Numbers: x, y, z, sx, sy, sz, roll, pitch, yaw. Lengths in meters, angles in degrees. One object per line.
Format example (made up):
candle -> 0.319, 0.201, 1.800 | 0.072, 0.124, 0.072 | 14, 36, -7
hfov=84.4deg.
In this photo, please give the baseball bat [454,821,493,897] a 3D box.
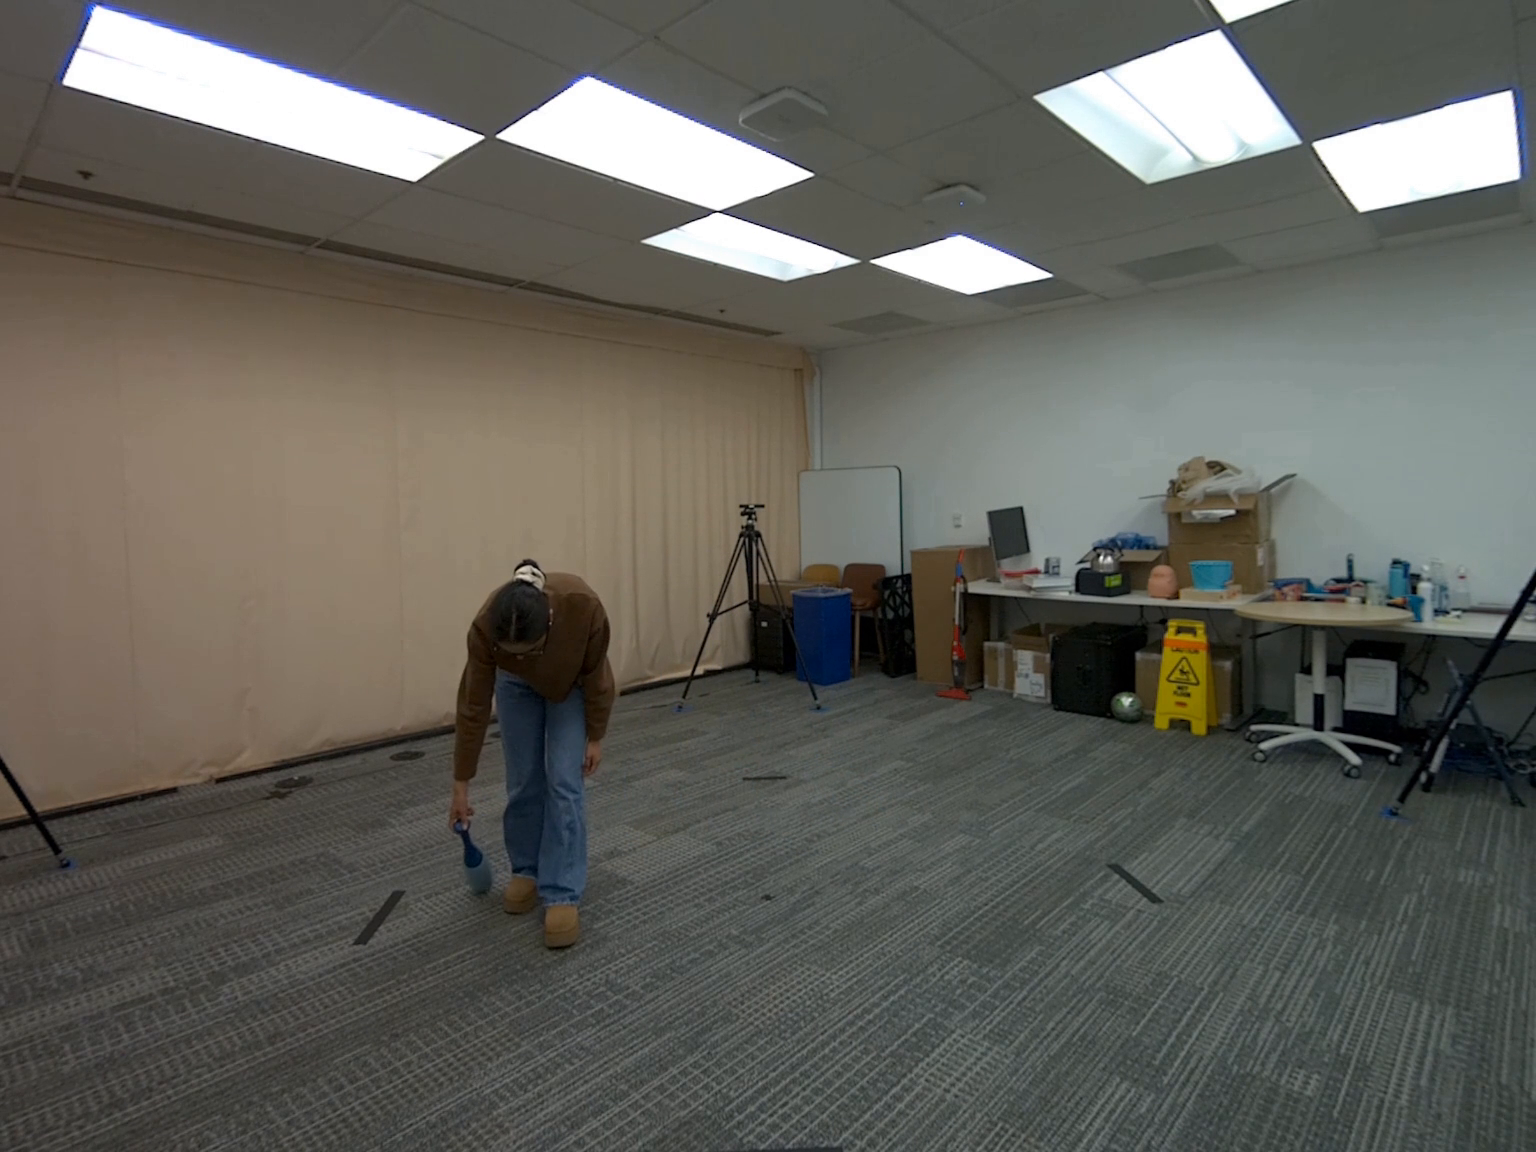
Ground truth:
baseball bat -> -1.020, 0.972, 2.896 | 0.088, 0.091, 0.536 | -1, -38, -10
